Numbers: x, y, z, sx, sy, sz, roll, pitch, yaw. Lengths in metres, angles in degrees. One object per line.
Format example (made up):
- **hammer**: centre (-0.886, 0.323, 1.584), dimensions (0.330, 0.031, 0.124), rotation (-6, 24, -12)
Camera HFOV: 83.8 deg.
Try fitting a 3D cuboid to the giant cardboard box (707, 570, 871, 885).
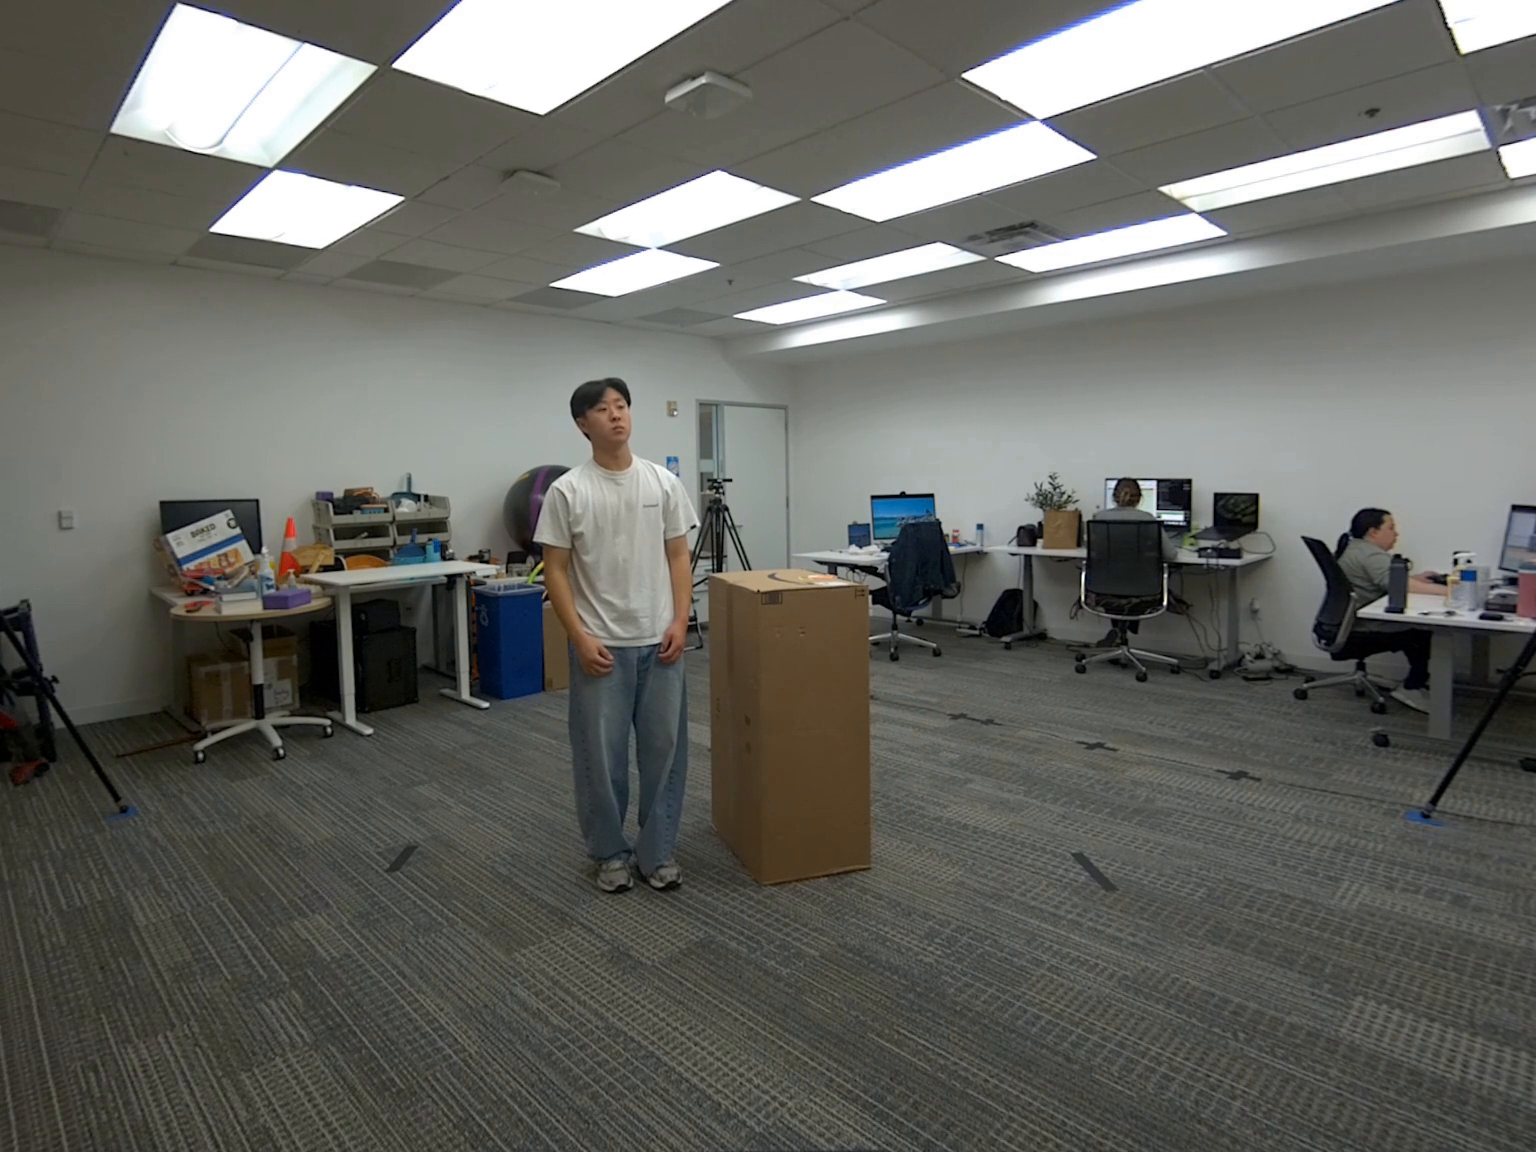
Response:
- **giant cardboard box**: centre (0.069, 0.519, 3.229), dimensions (0.418, 1.022, 0.590), rotation (-2, 4, -21)
